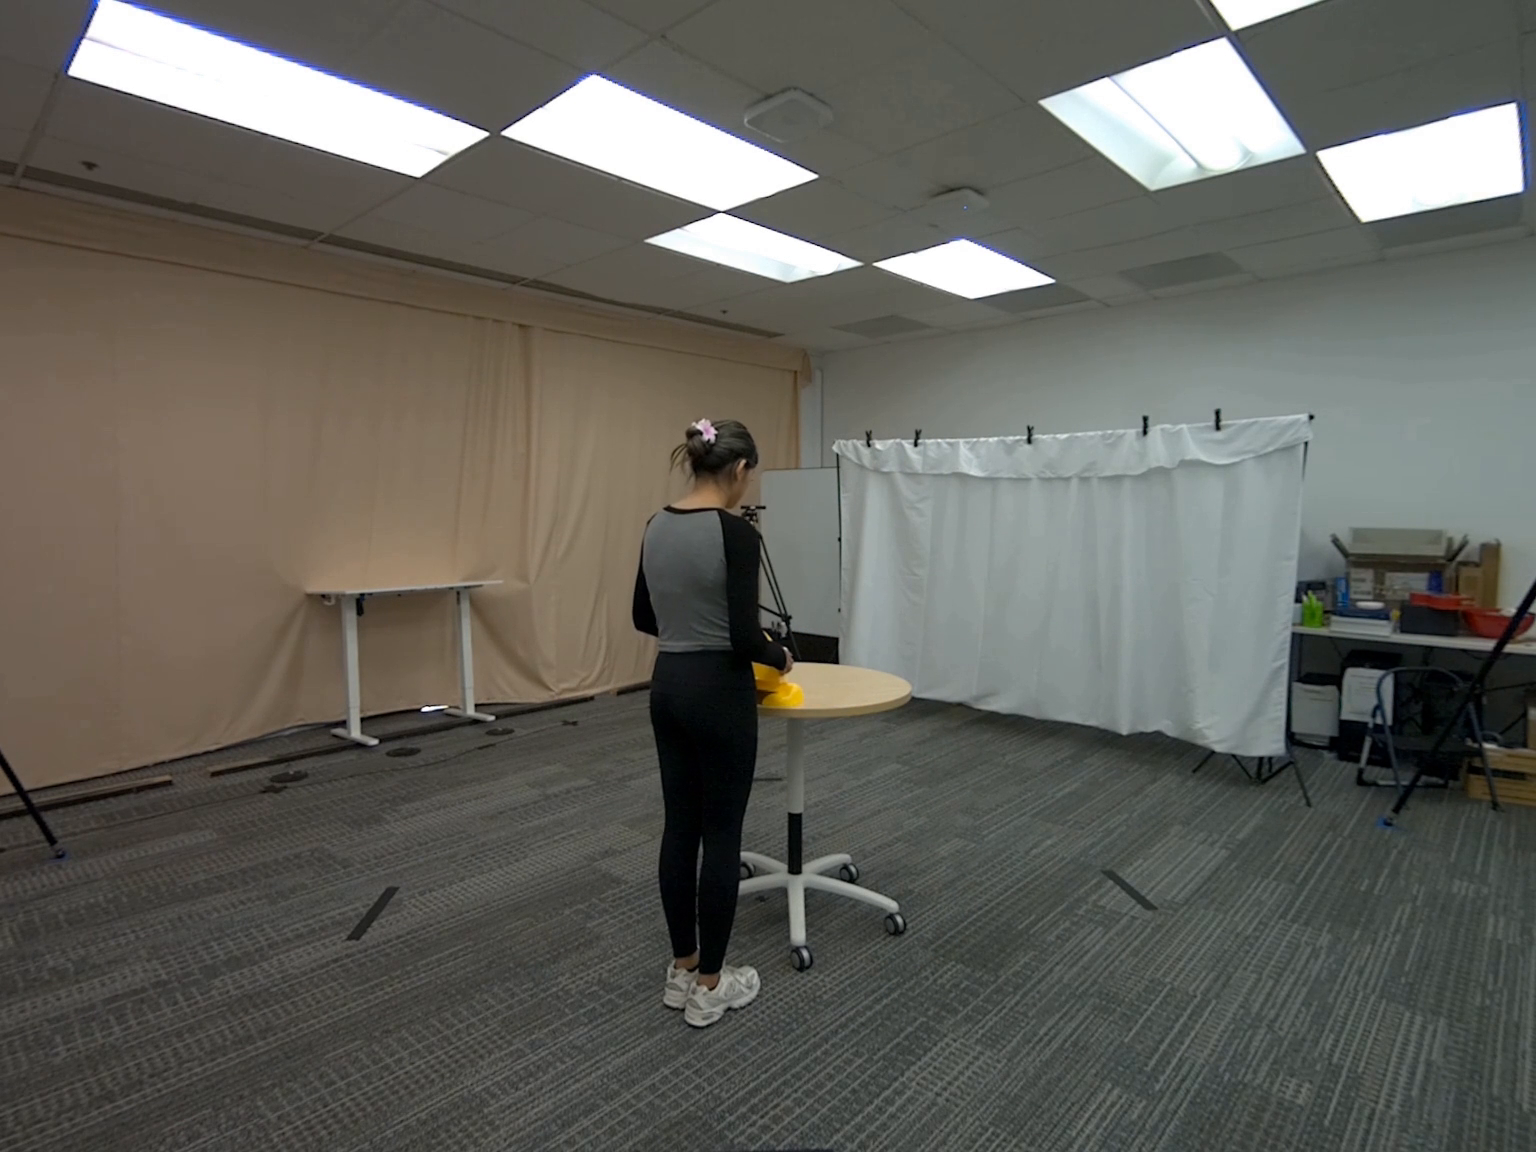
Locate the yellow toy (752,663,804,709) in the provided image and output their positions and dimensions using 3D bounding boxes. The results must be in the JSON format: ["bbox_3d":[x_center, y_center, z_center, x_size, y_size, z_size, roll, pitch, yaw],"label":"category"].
[{"bbox_3d":[0.011,0.271,2.576,0.211,0.230,0.187,2,2,36],"label":"yellow toy"}]
